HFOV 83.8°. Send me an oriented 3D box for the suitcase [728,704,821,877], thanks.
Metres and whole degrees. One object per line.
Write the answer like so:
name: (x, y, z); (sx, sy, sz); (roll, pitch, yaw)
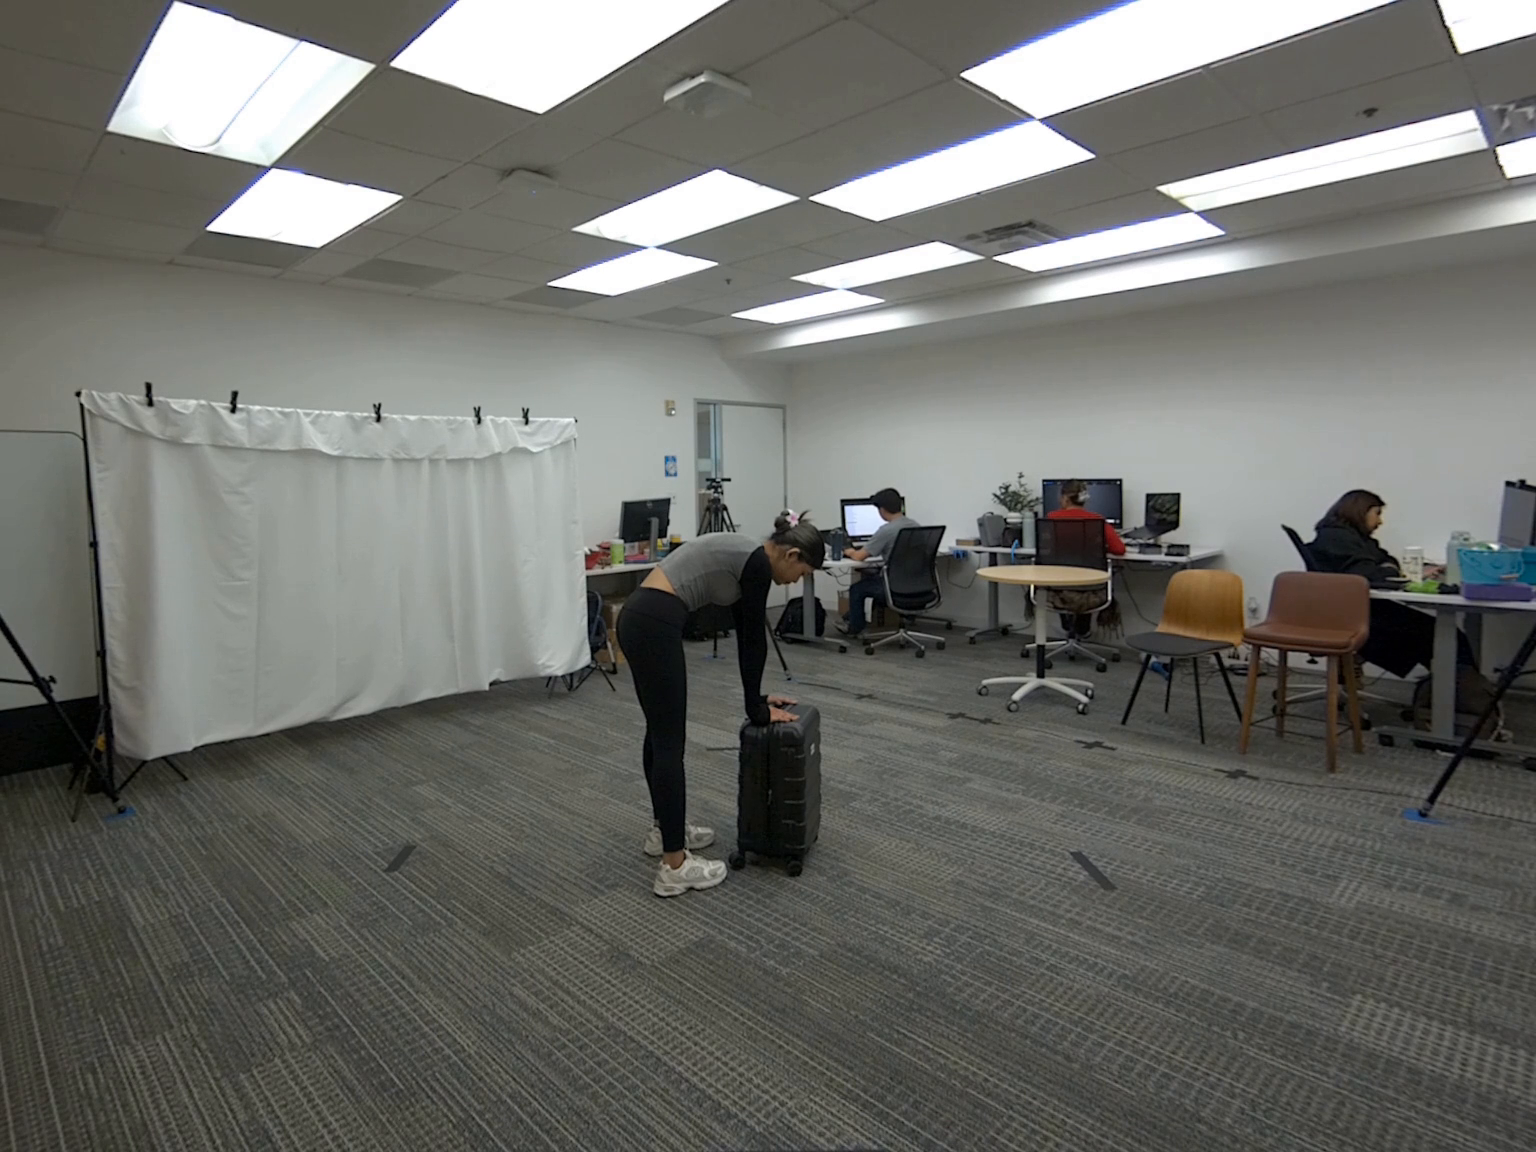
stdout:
suitcase: (0.043, 0.759, 3.169); (0.253, 0.547, 0.370); (2, 5, 17)
